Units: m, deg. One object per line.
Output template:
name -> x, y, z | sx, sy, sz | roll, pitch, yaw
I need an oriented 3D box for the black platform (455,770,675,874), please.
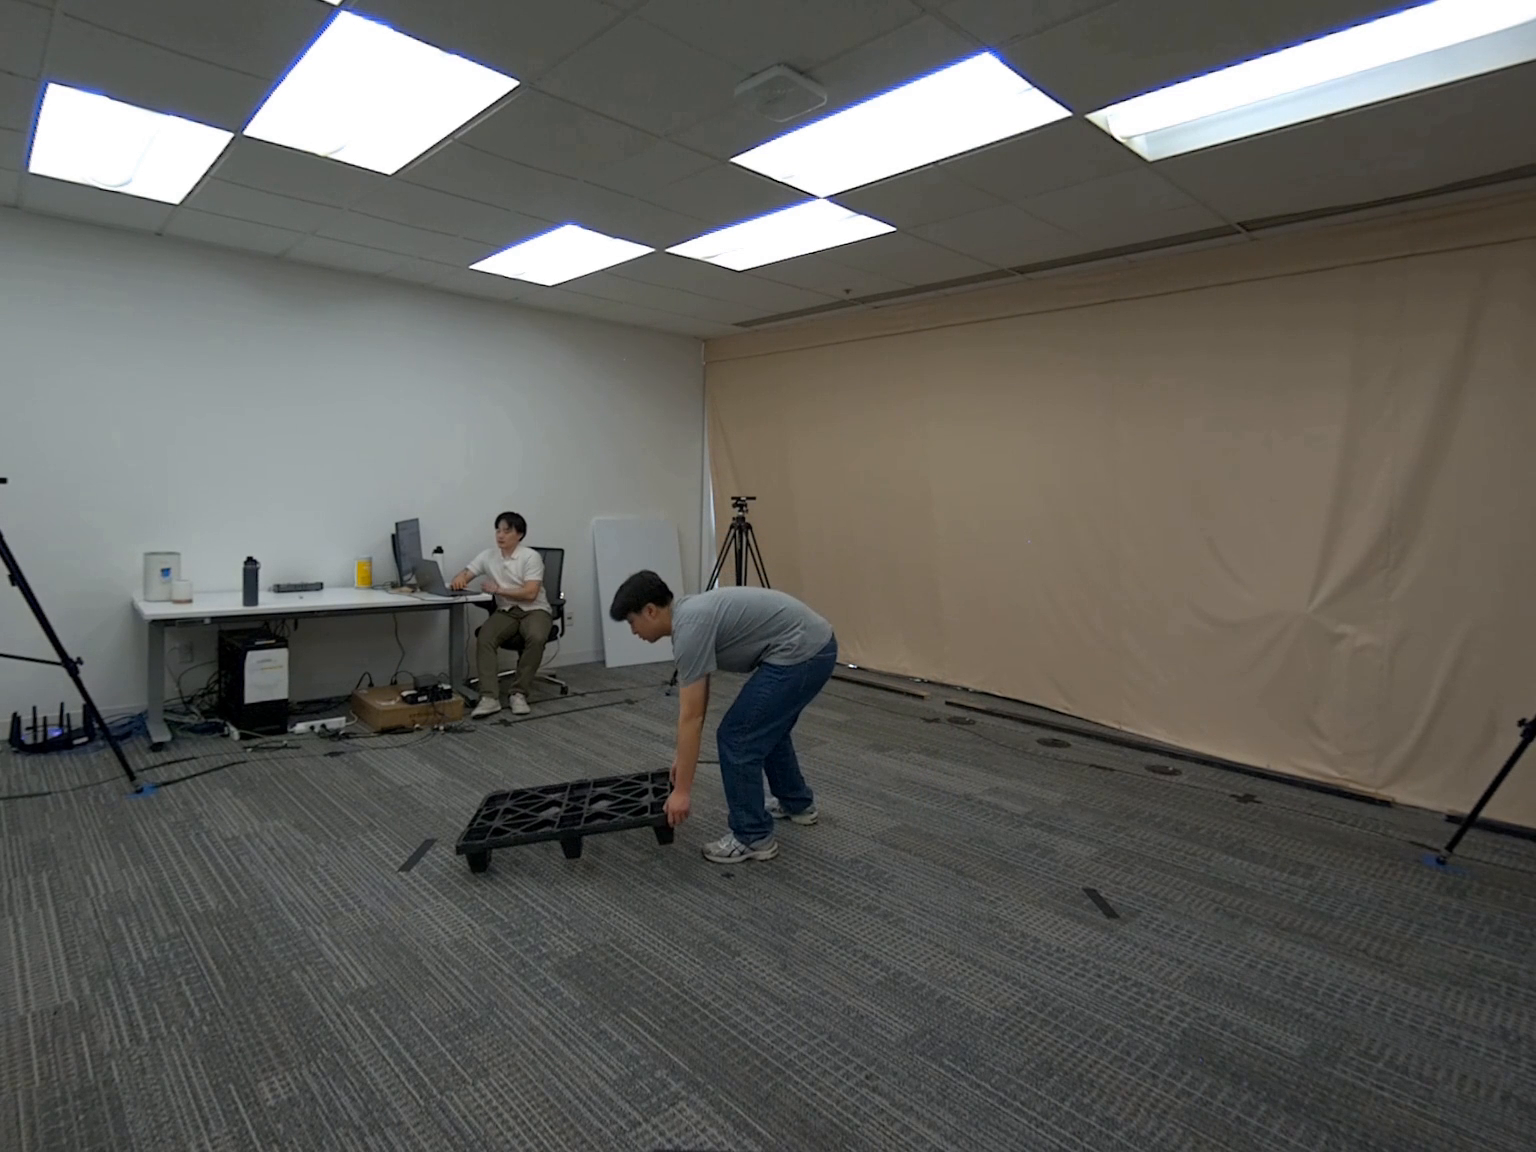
black platform -> -0.750, 0.951, 3.291 | 0.802, 0.143, 0.609 | -7, 5, -6
